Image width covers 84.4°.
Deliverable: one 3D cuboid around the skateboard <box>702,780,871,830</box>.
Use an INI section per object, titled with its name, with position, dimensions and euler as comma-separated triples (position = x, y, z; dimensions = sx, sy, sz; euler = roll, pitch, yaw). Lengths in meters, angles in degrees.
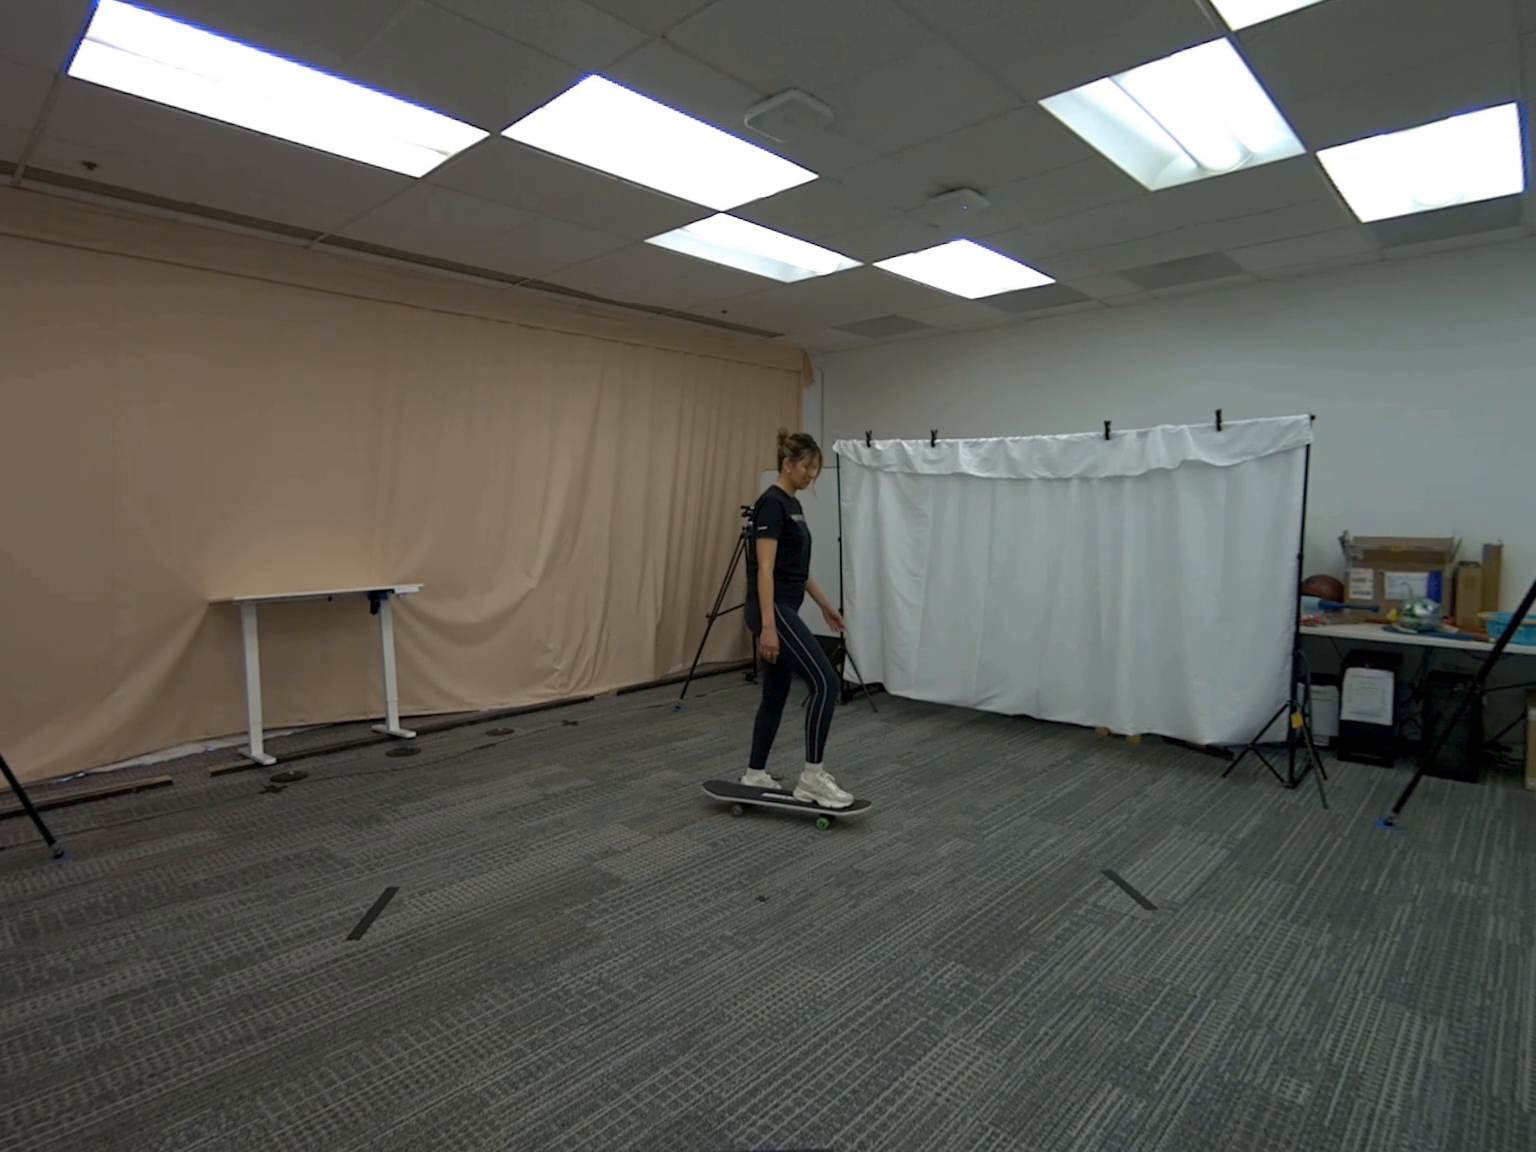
[skateboard]
position = 0.069, 1.018, 3.770
dimensions = 0.803, 0.110, 0.189
euler = 2, 5, 22
